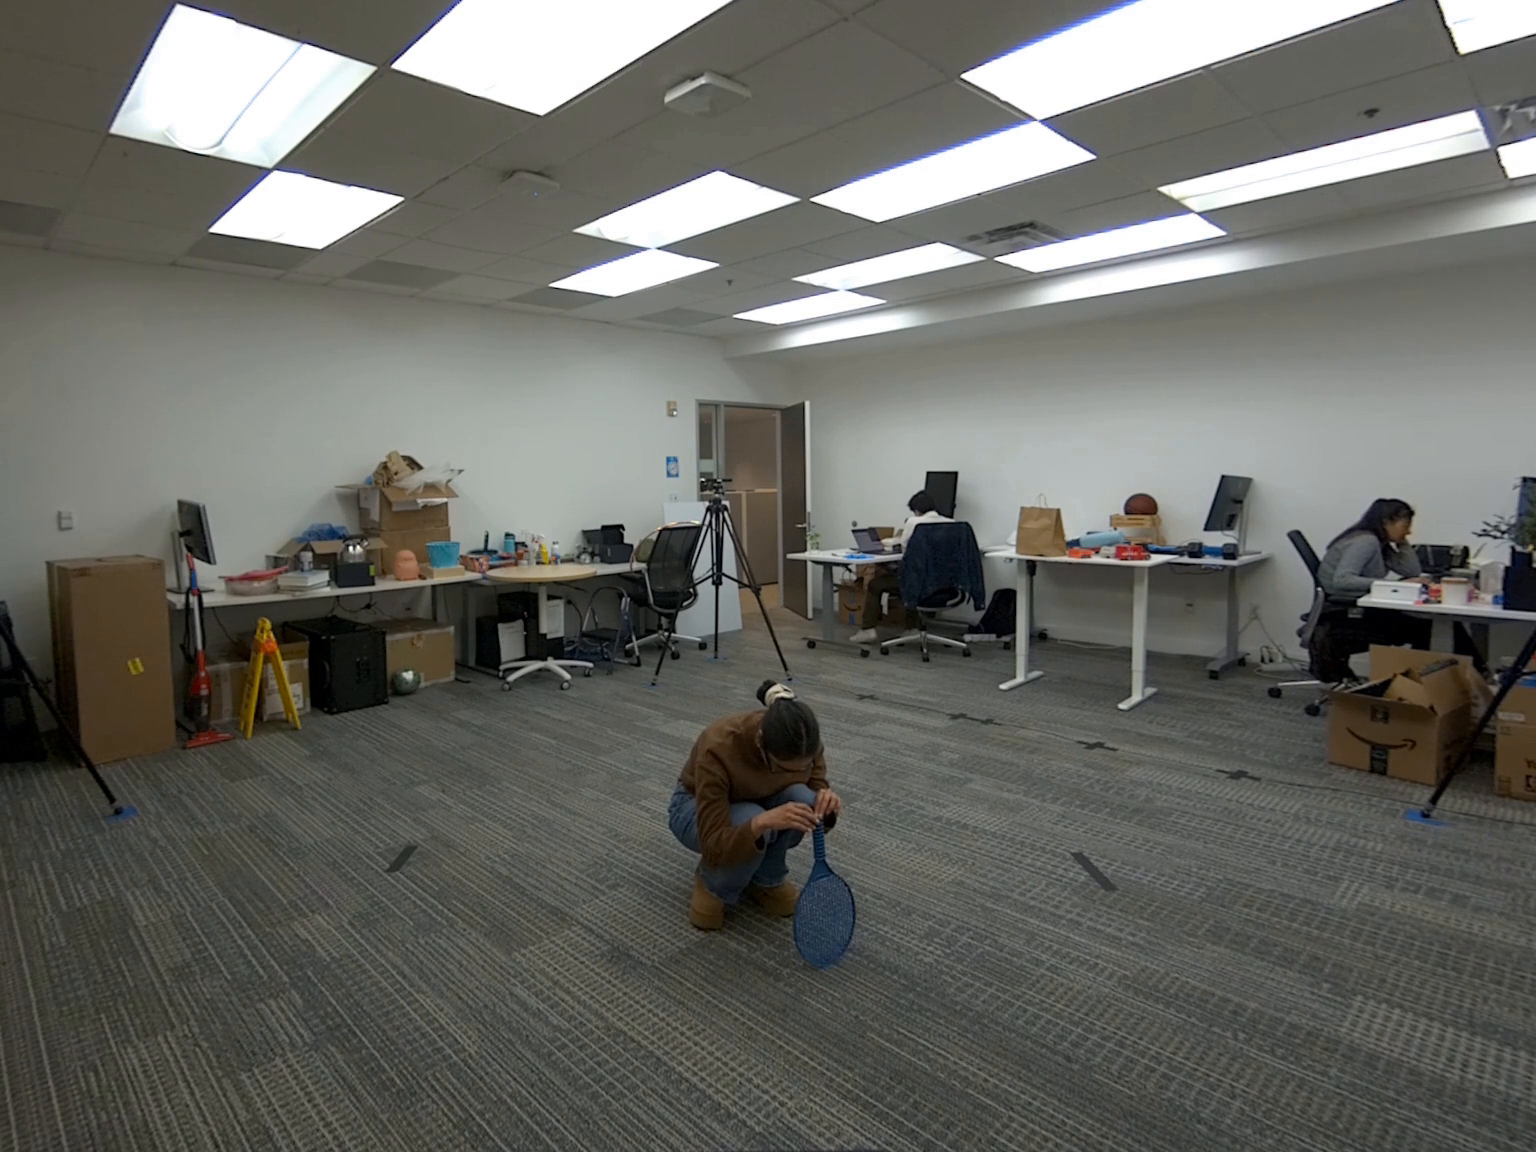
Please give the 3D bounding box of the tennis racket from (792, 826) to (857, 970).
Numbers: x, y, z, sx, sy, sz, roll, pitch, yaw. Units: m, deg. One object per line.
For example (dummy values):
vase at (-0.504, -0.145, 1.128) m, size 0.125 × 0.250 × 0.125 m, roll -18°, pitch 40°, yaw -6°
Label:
tennis racket at (0.159, 0.908, 2.445) m, size 0.209 × 0.432 × 0.032 m, roll -4°, pitch 1°, yaw -27°
